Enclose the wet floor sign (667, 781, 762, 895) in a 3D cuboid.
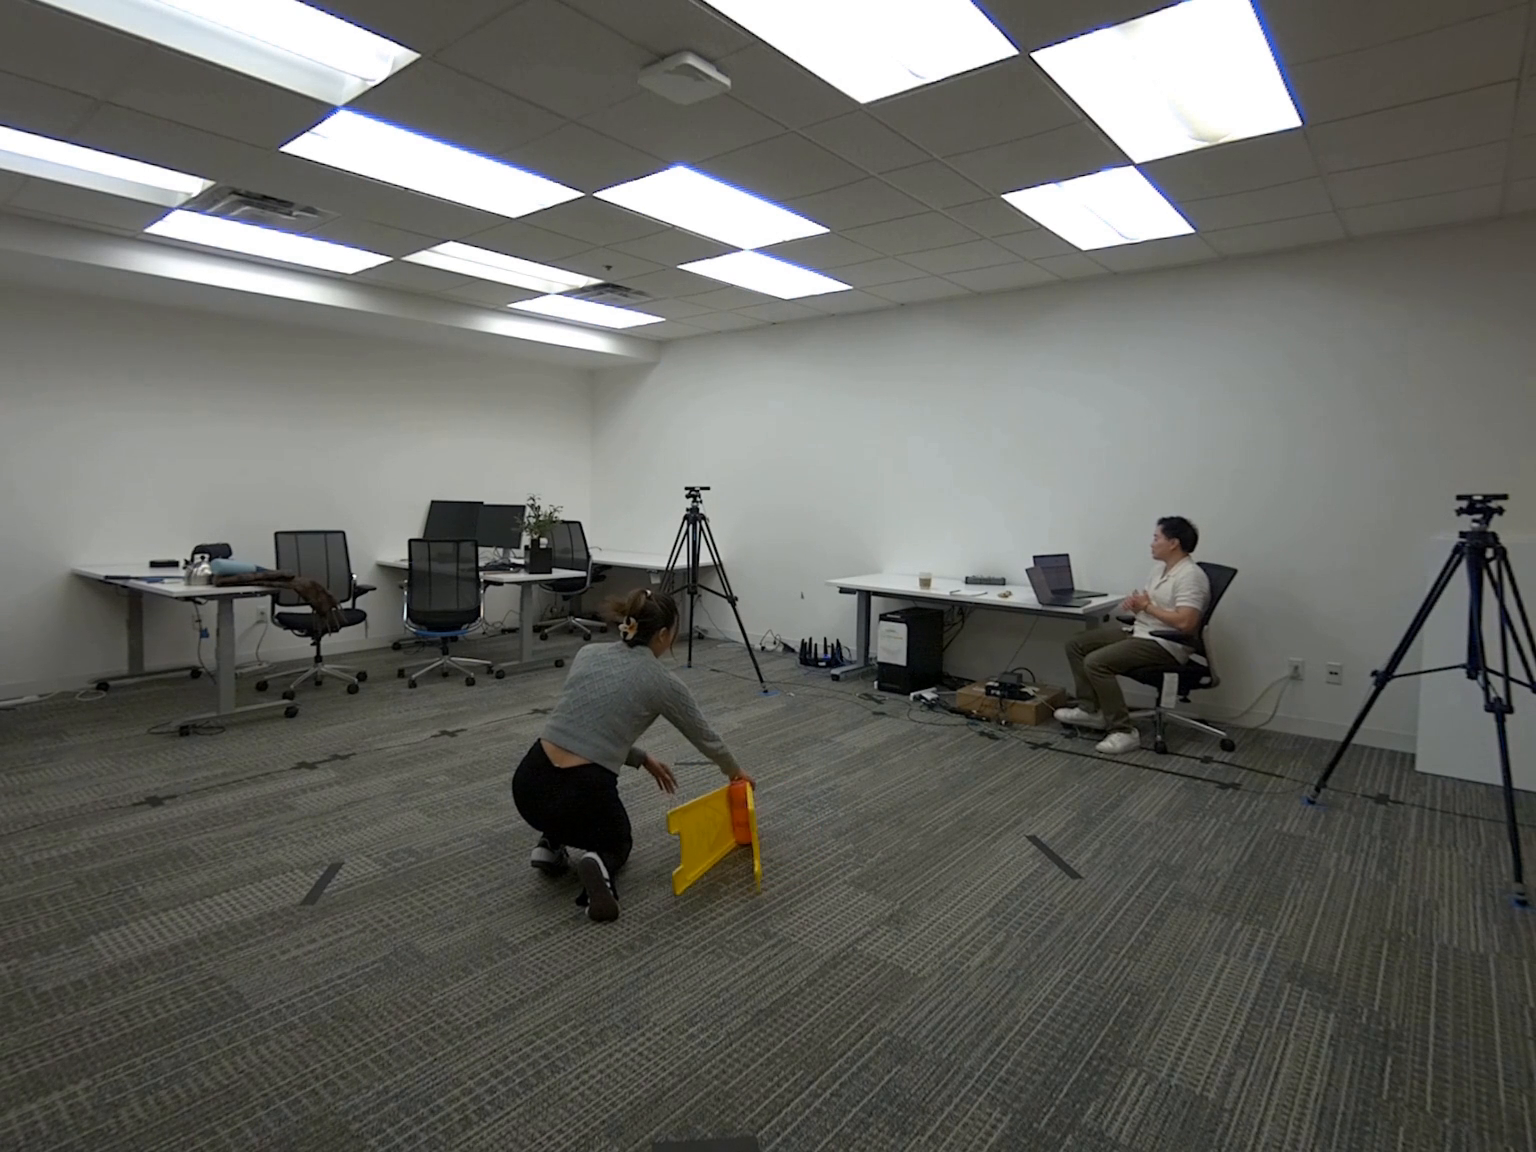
[{"bbox_3d":[-0.131,0.930,3.172,0.293,0.283,0.636,-6,-1,12],"label":"wet floor sign"}]
